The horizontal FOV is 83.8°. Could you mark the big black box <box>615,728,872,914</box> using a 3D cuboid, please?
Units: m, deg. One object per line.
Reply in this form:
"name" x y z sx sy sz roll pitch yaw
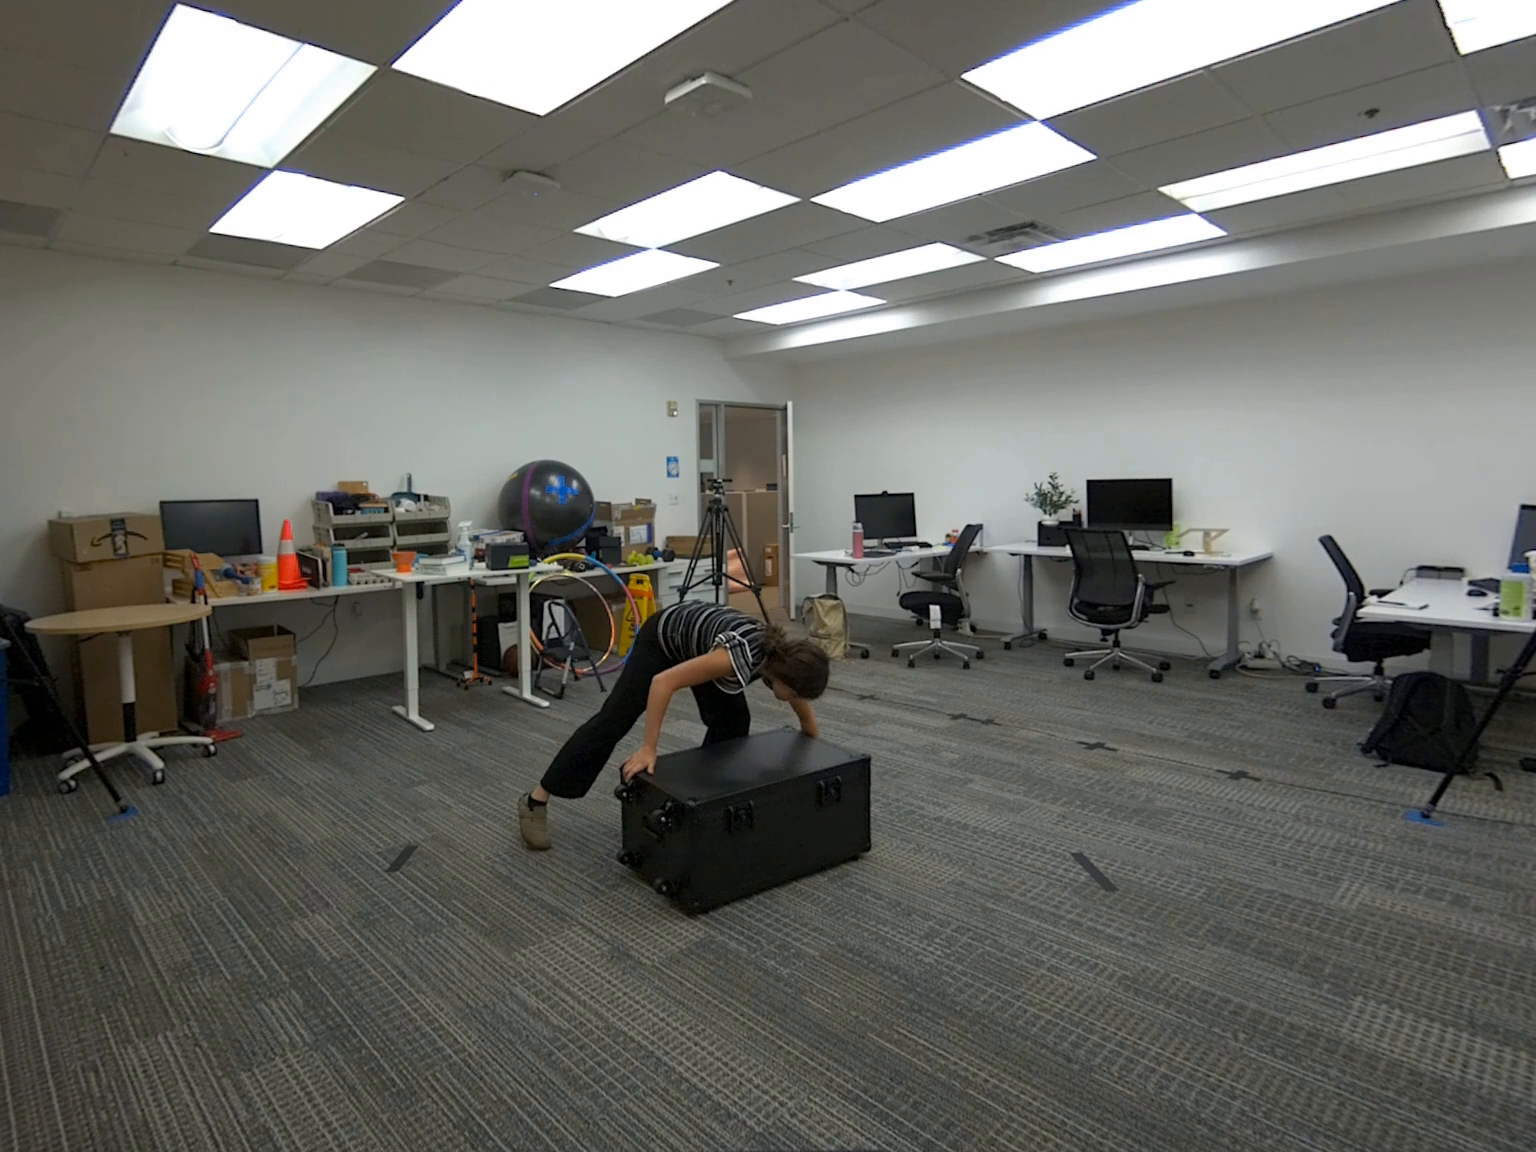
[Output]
"big black box" -0.102 0.857 3.092 0.839 0.395 0.537 -4 6 -35
